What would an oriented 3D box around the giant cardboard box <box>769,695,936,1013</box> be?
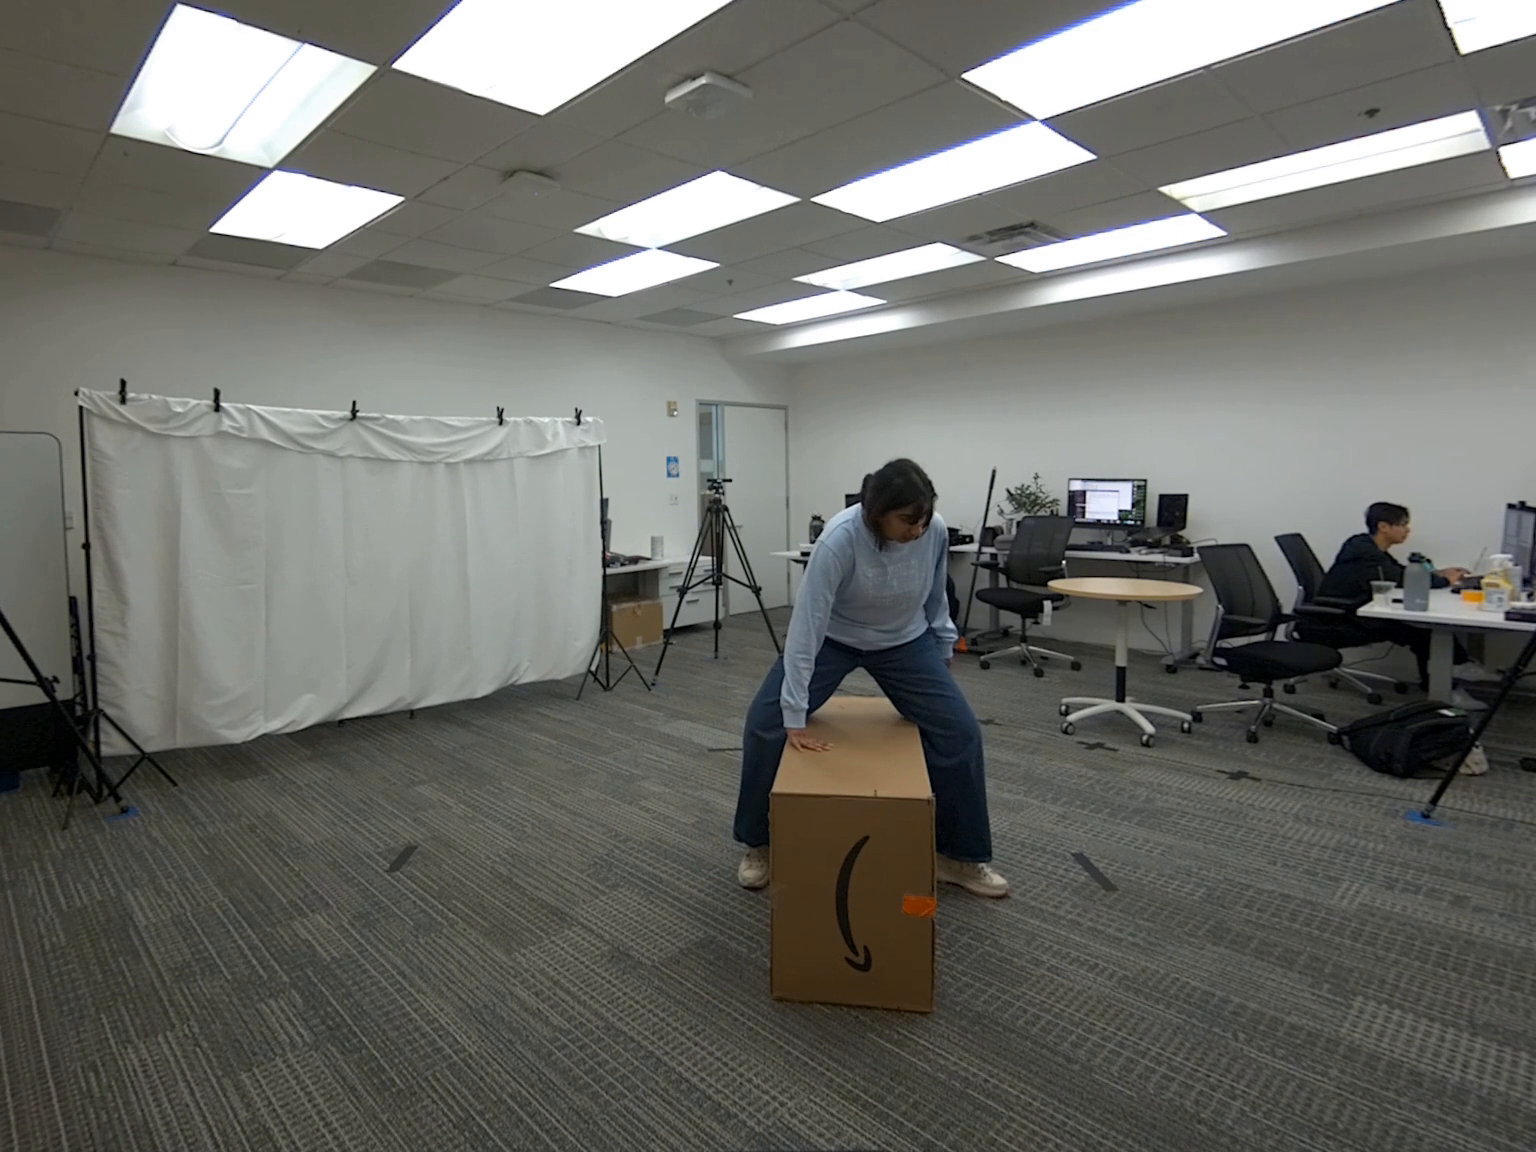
[{"bbox_3d":[0.279,0.796,2.732,0.430,0.575,1.022,0,6,7],"label":"giant cardboard box"}]
